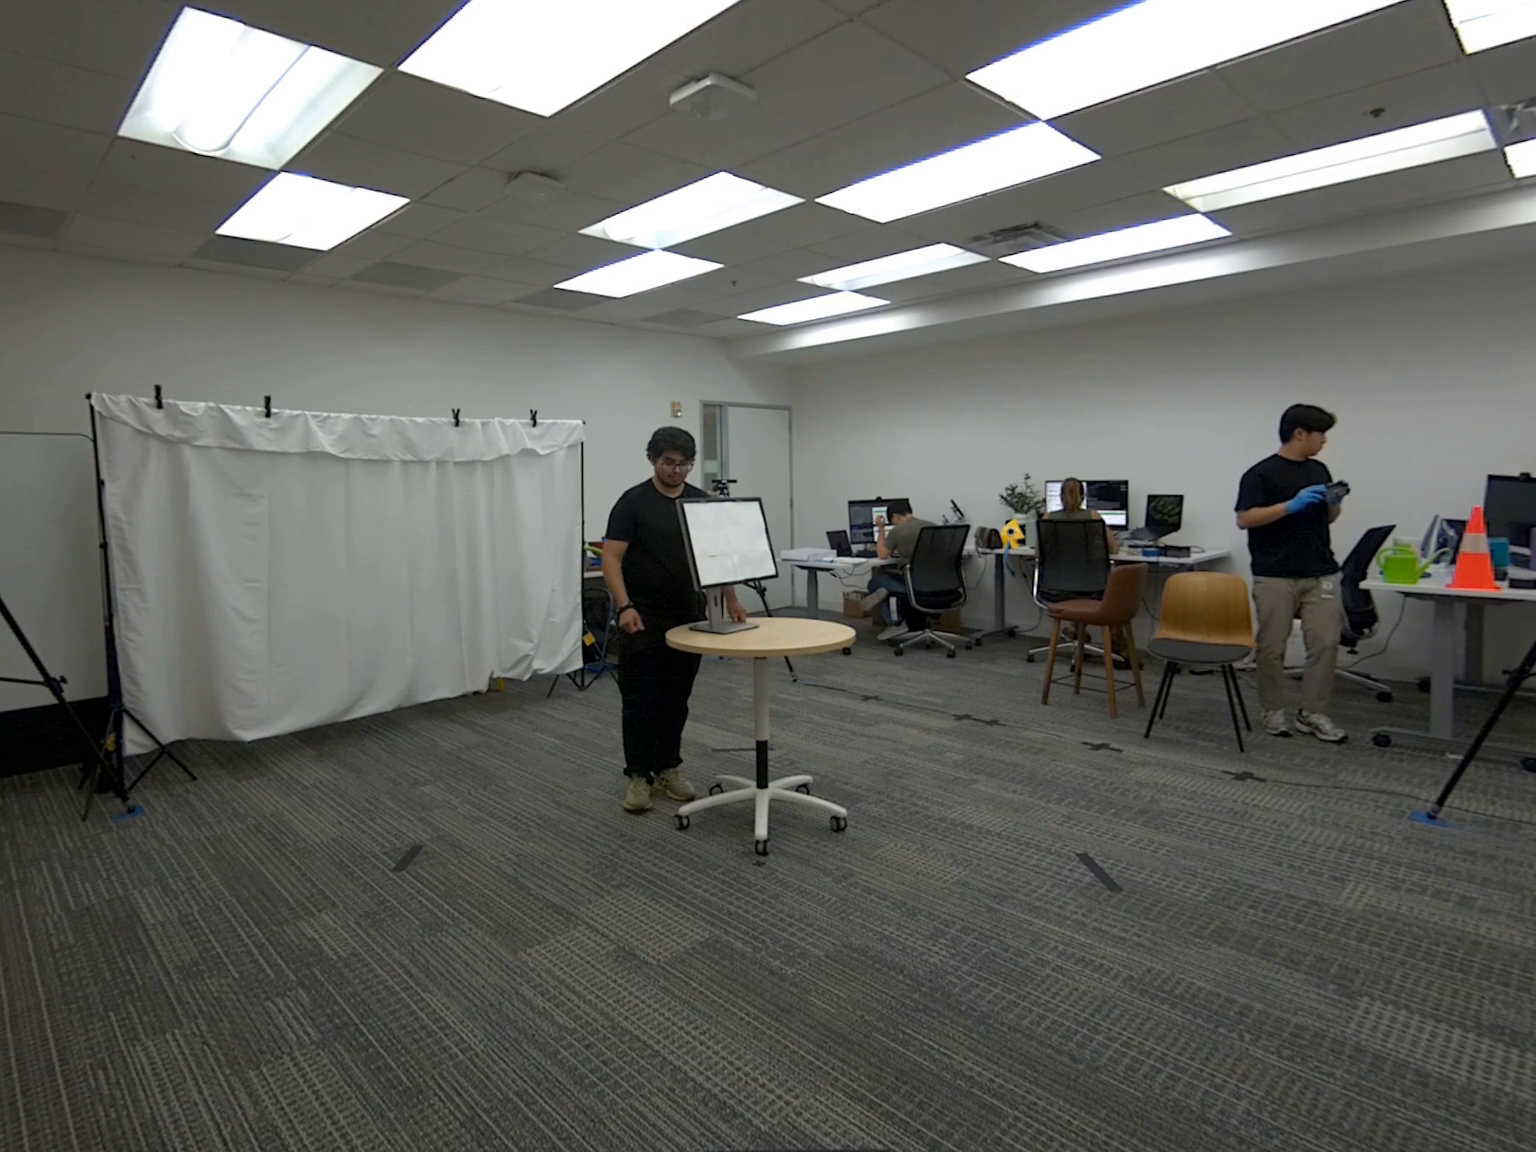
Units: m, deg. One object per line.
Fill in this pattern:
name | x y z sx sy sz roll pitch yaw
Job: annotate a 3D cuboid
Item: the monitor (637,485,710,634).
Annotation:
monitor | -0.205 -0.047 3.568 0.215 0.555 0.551 -9 -1 38
